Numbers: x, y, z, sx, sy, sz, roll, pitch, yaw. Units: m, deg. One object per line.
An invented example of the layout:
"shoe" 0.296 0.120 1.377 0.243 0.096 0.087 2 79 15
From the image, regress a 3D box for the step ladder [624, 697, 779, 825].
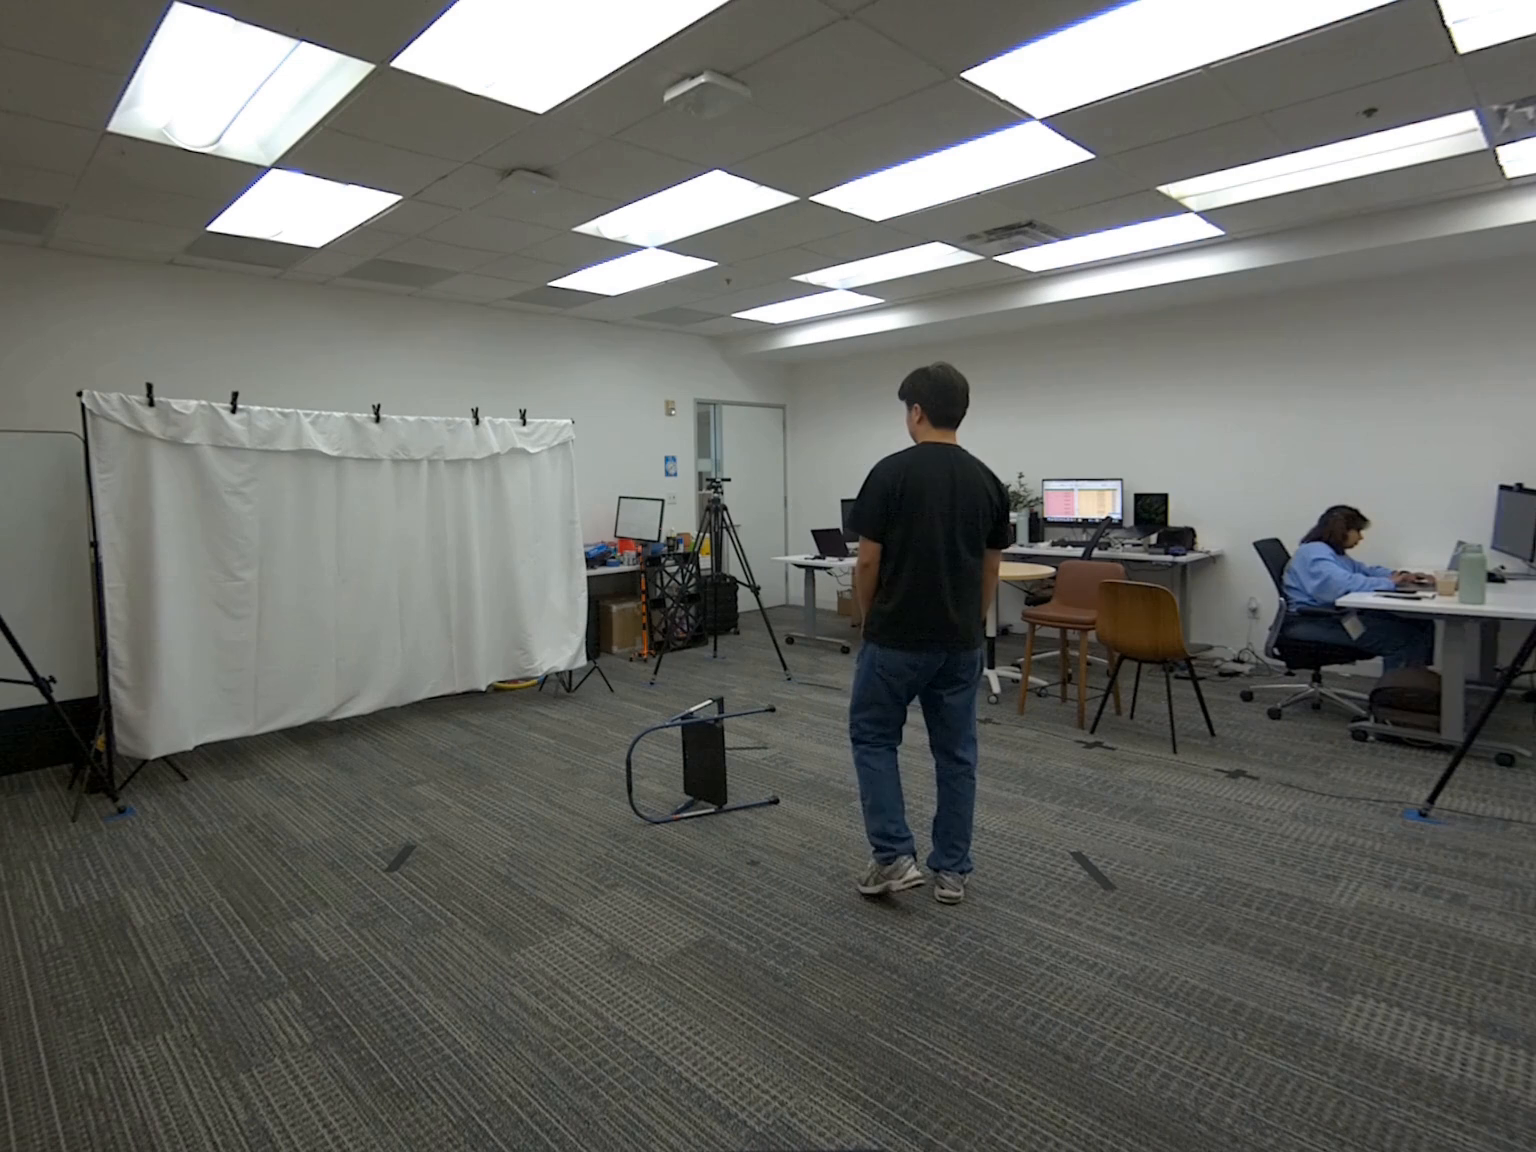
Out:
"step ladder" -0.295 0.783 3.576 0.590 0.429 0.360 -7 6 -43
